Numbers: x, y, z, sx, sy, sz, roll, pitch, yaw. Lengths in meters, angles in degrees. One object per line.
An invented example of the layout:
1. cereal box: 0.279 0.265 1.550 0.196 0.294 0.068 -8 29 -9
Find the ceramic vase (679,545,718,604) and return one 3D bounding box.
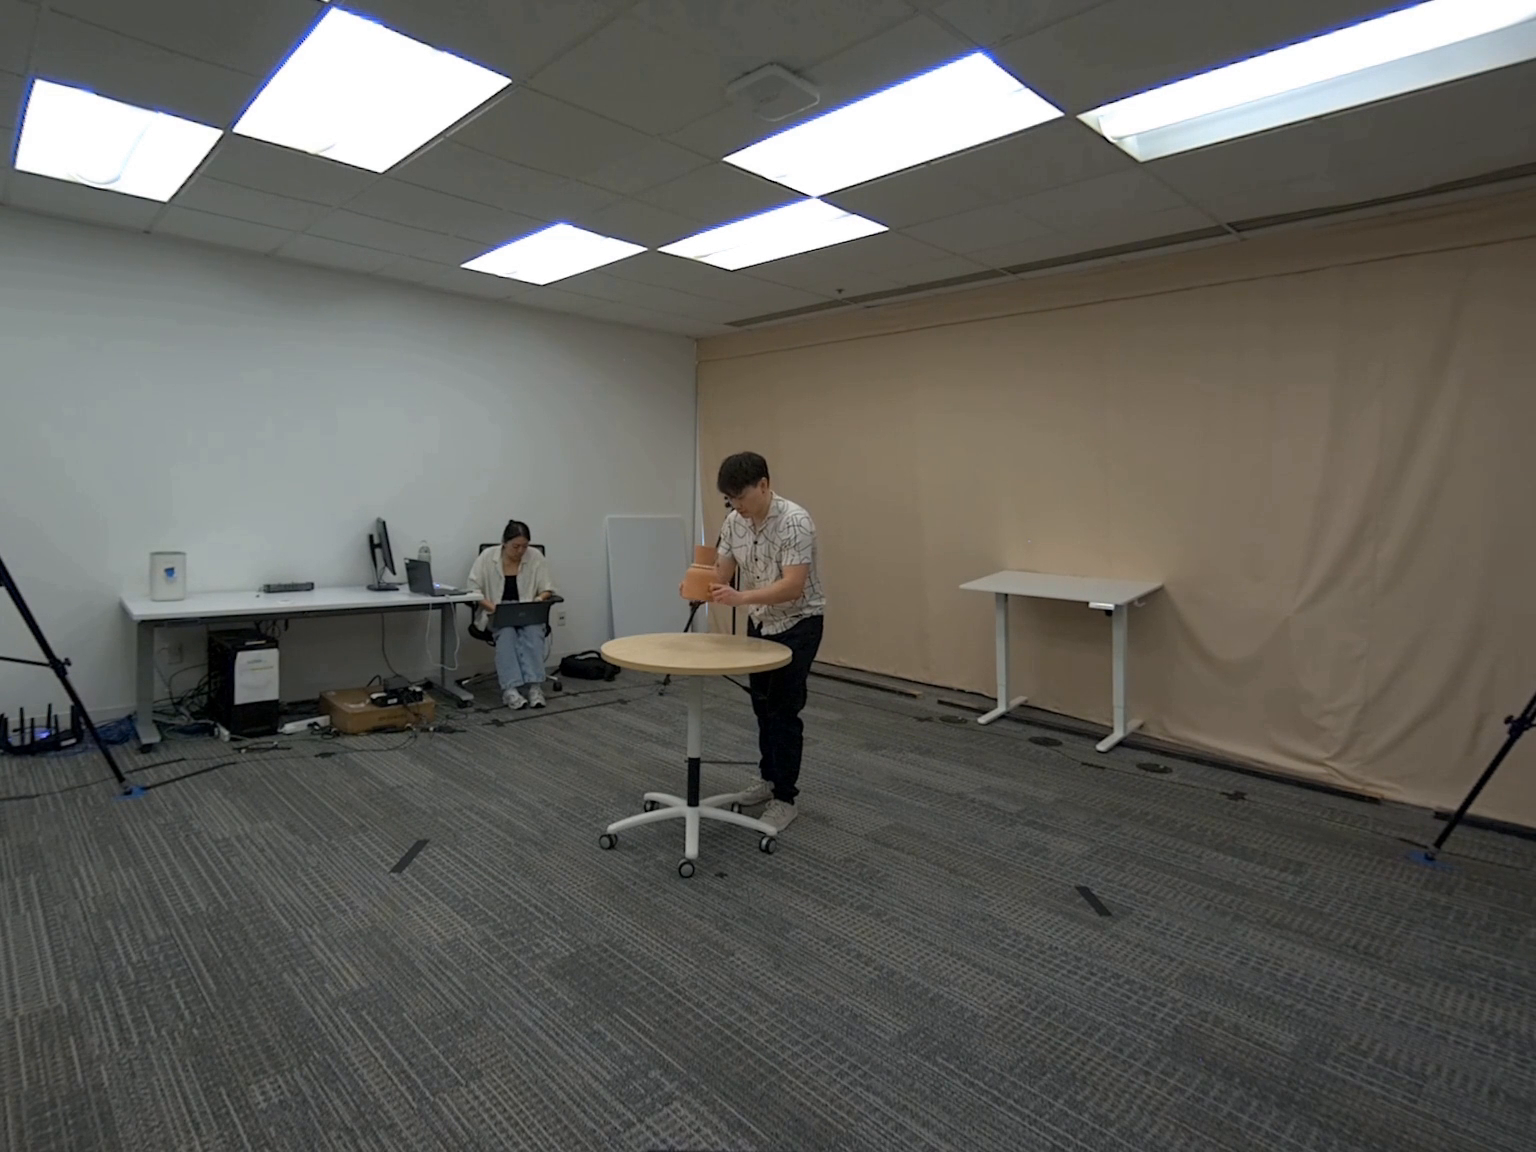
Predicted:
1. ceramic vase: -0.269 -0.007 3.401 0.160 0.220 0.133 9 0 11
